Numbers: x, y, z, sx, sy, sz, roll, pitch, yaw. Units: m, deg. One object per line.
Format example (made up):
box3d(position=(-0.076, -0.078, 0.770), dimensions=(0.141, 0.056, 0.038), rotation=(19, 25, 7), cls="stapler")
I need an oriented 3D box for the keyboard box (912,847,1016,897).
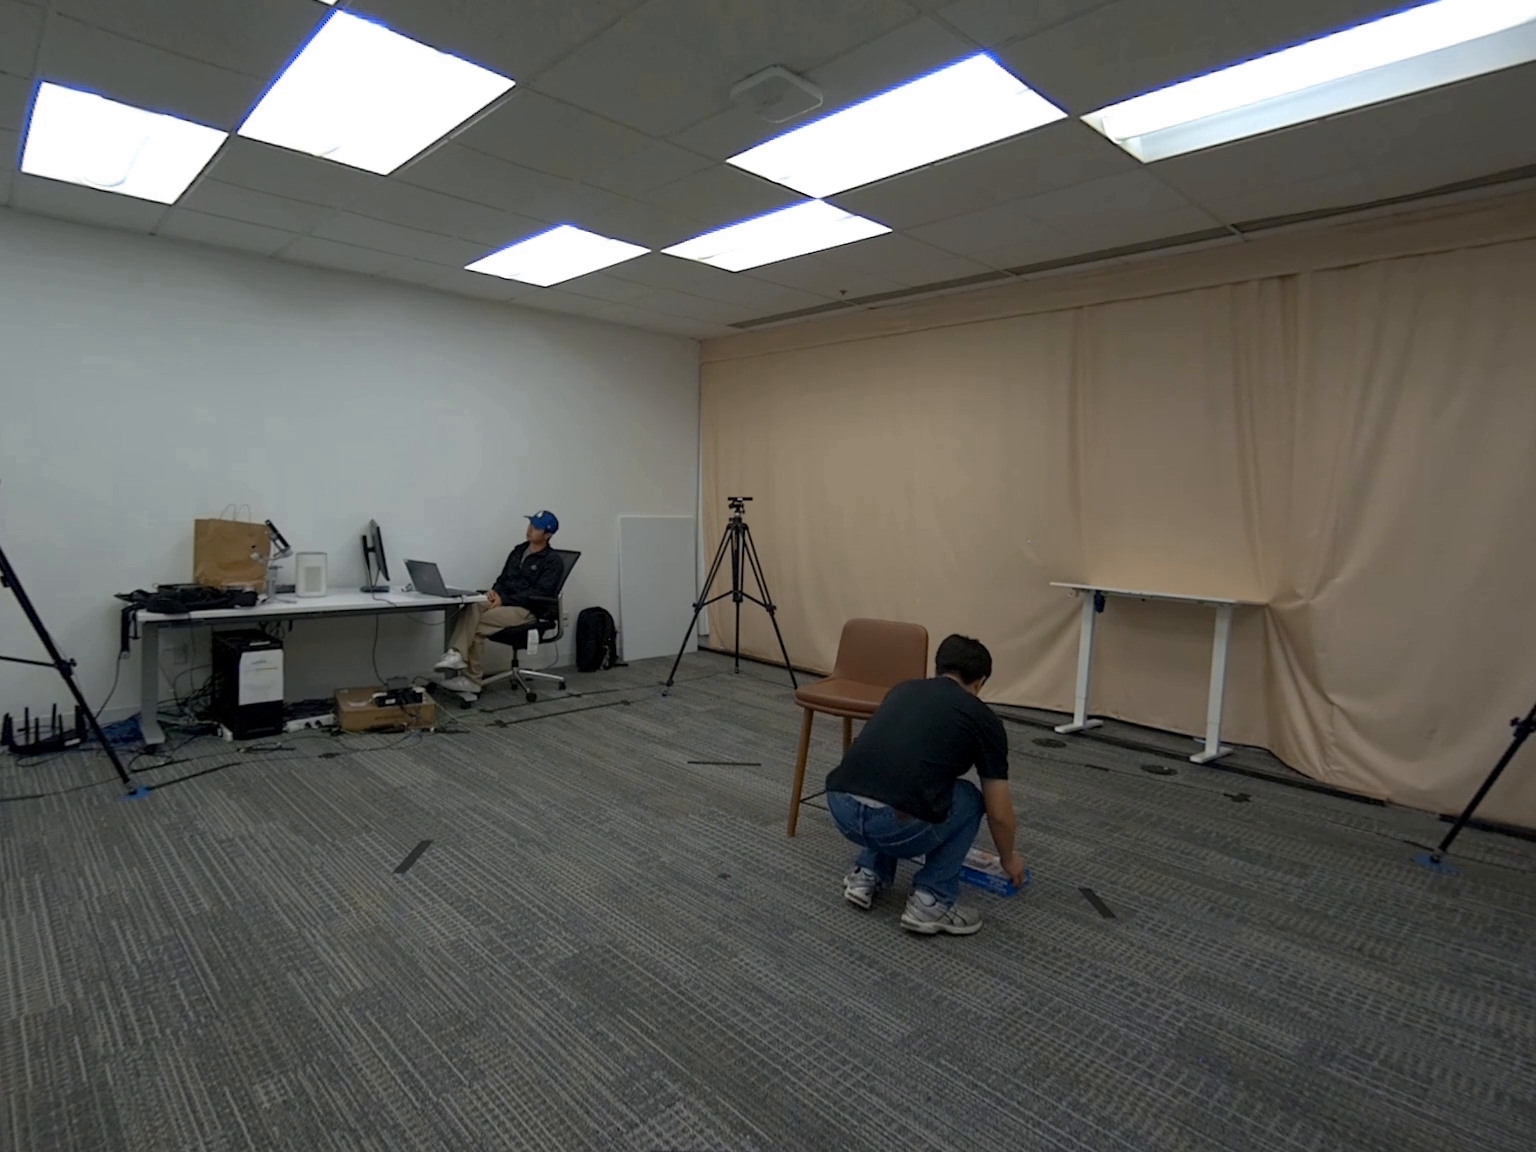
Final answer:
box3d(position=(0.734, 1.093, 3.212), dimensions=(0.448, 0.059, 0.172), rotation=(6, 6, 43), cls="keyboard box")
